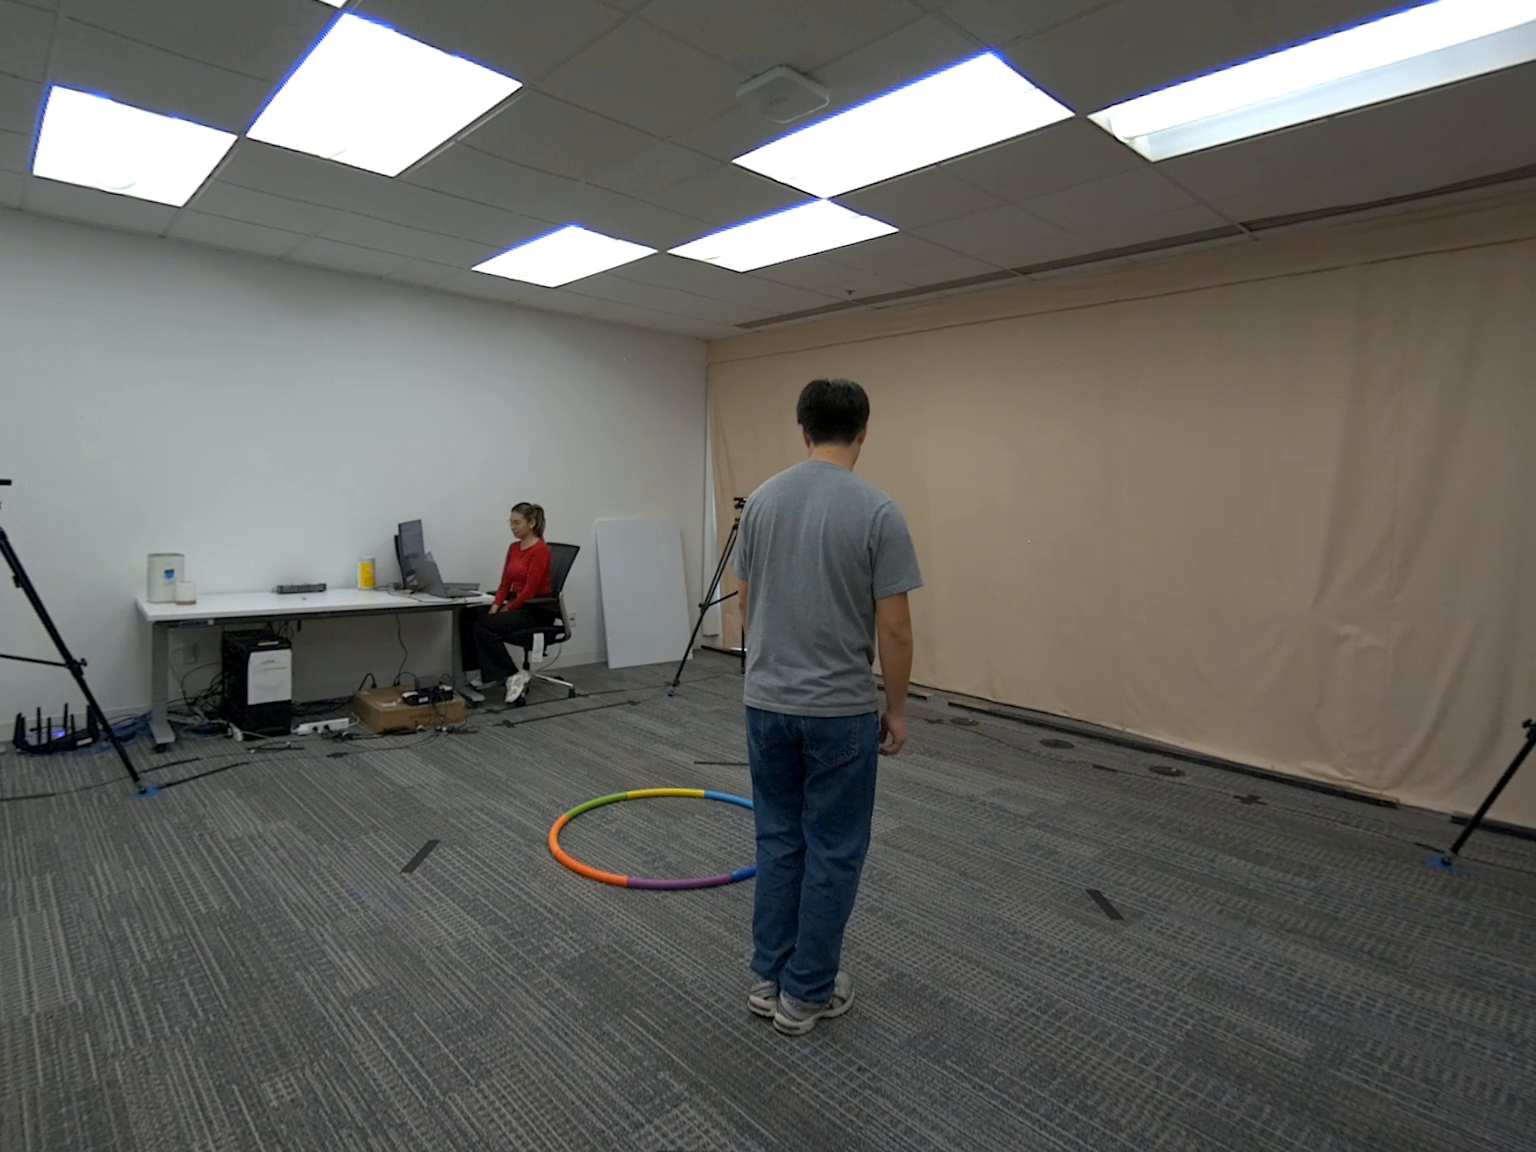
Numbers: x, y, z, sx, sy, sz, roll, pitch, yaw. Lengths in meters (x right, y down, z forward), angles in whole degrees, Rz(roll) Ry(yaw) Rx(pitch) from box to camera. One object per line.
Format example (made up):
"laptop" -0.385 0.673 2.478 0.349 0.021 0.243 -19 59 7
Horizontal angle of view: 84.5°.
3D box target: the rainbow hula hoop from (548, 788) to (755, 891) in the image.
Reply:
"rainbow hula hoop" -0.407 1.038 3.464 0.978 0.035 0.982 2 5 -1
